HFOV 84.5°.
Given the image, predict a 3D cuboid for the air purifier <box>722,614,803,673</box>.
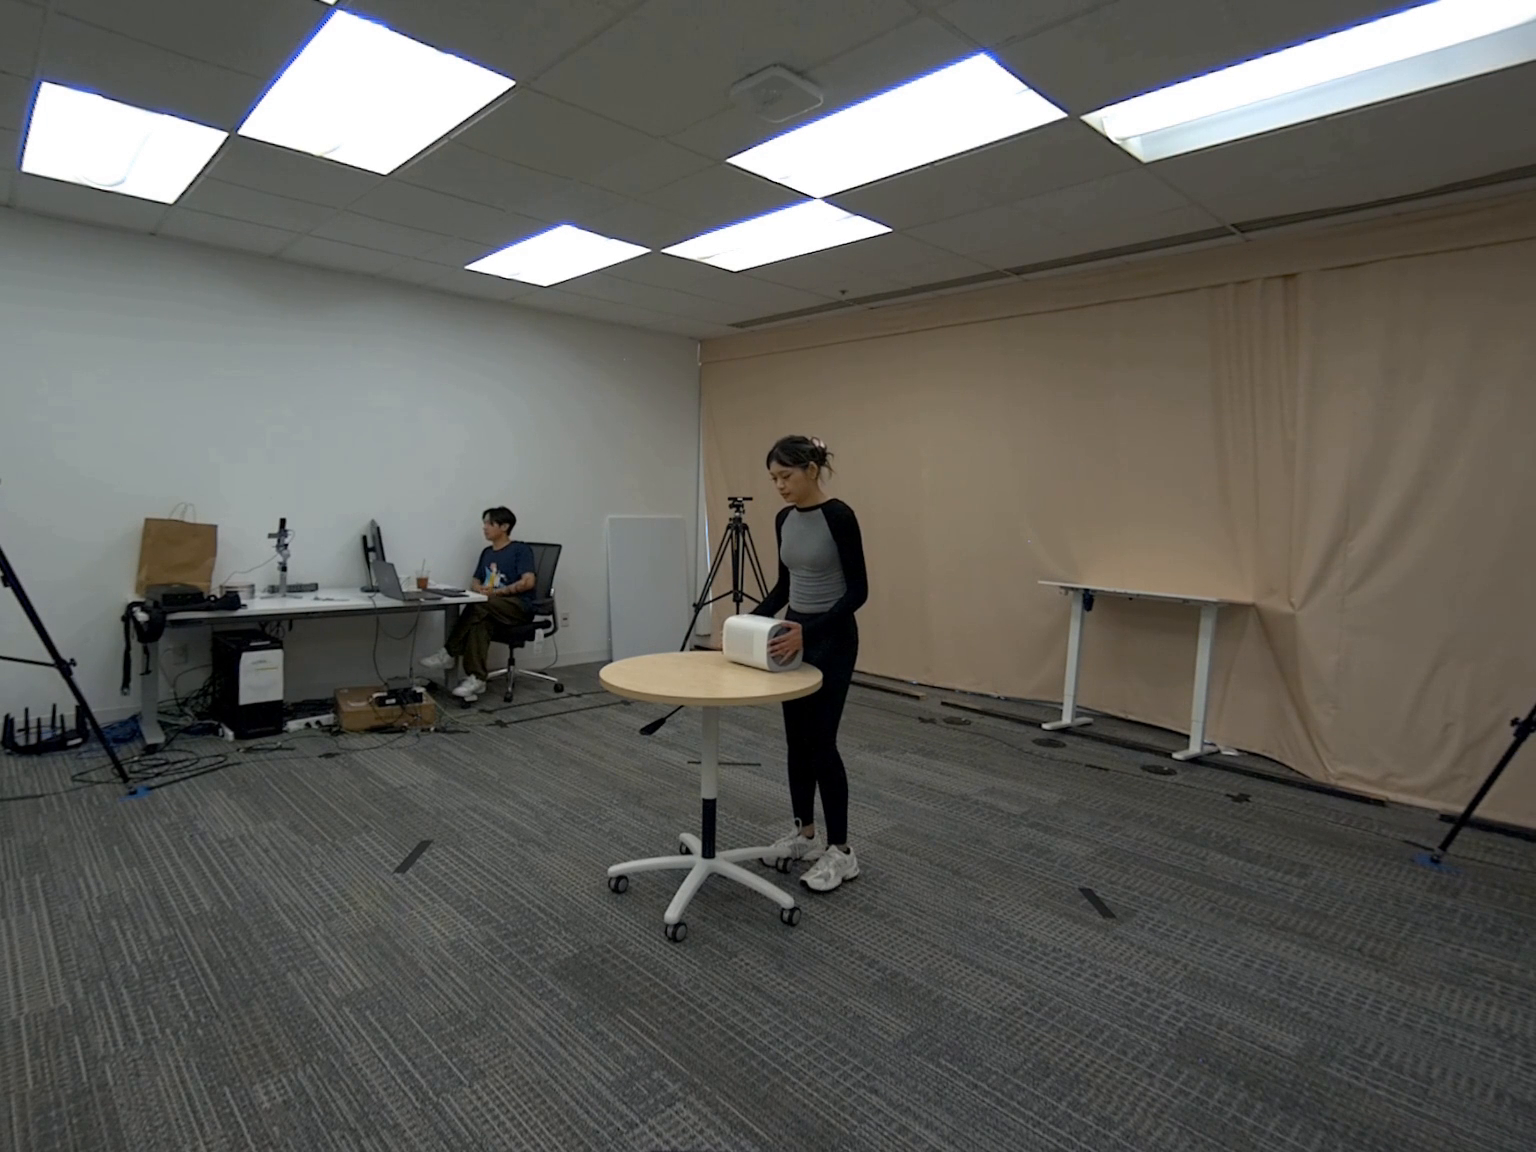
[{"bbox_3d":[-0.030,0.233,3.022,0.167,0.171,0.272,-1,5,-42],"label":"air purifier"}]
